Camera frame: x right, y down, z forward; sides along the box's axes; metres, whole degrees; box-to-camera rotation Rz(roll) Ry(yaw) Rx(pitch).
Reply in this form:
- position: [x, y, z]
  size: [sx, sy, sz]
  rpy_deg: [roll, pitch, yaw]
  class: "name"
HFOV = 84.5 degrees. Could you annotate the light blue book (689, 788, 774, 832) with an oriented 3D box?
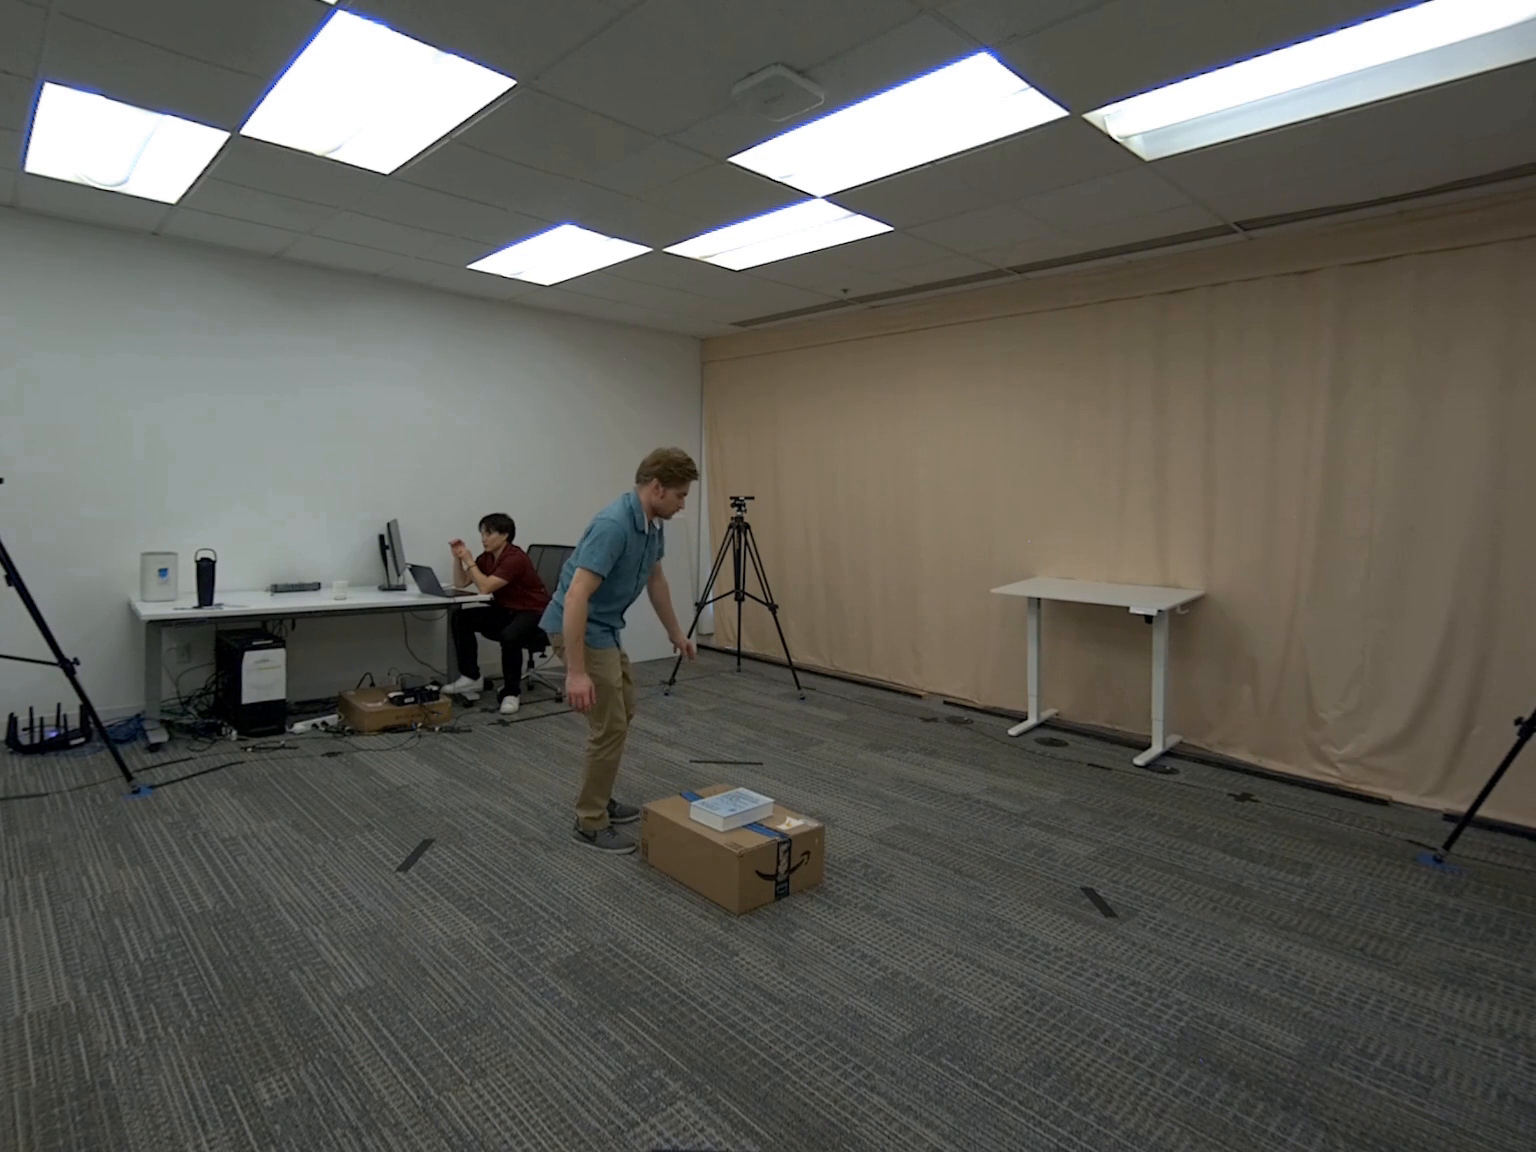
- position: [-0.139, 0.859, 3.123]
  size: [0.196, 0.059, 0.255]
  rpy_deg: [6, 7, 44]
  class: "light blue book"
